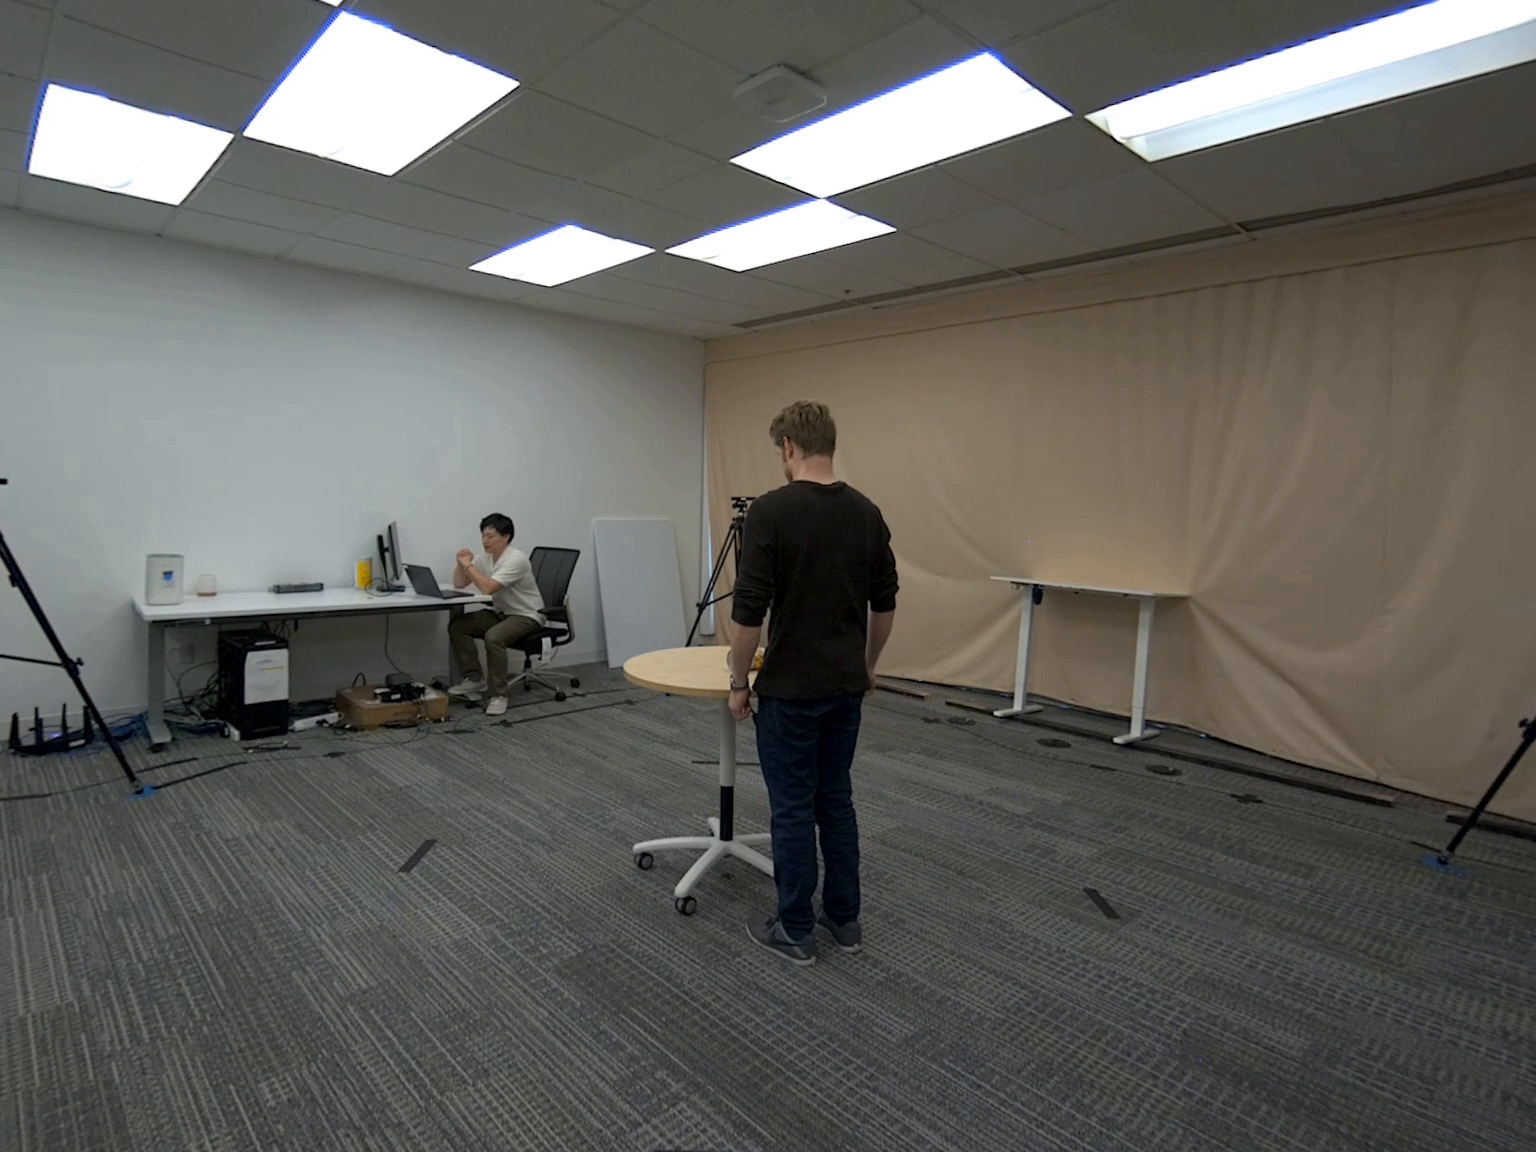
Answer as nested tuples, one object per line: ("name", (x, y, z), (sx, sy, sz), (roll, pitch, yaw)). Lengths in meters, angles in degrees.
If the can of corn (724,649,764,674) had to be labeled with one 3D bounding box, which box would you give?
("can of corn", (-0.087, 0.298, 2.981), (0.109, 0.074, 0.076), (-1, 5, -32))
